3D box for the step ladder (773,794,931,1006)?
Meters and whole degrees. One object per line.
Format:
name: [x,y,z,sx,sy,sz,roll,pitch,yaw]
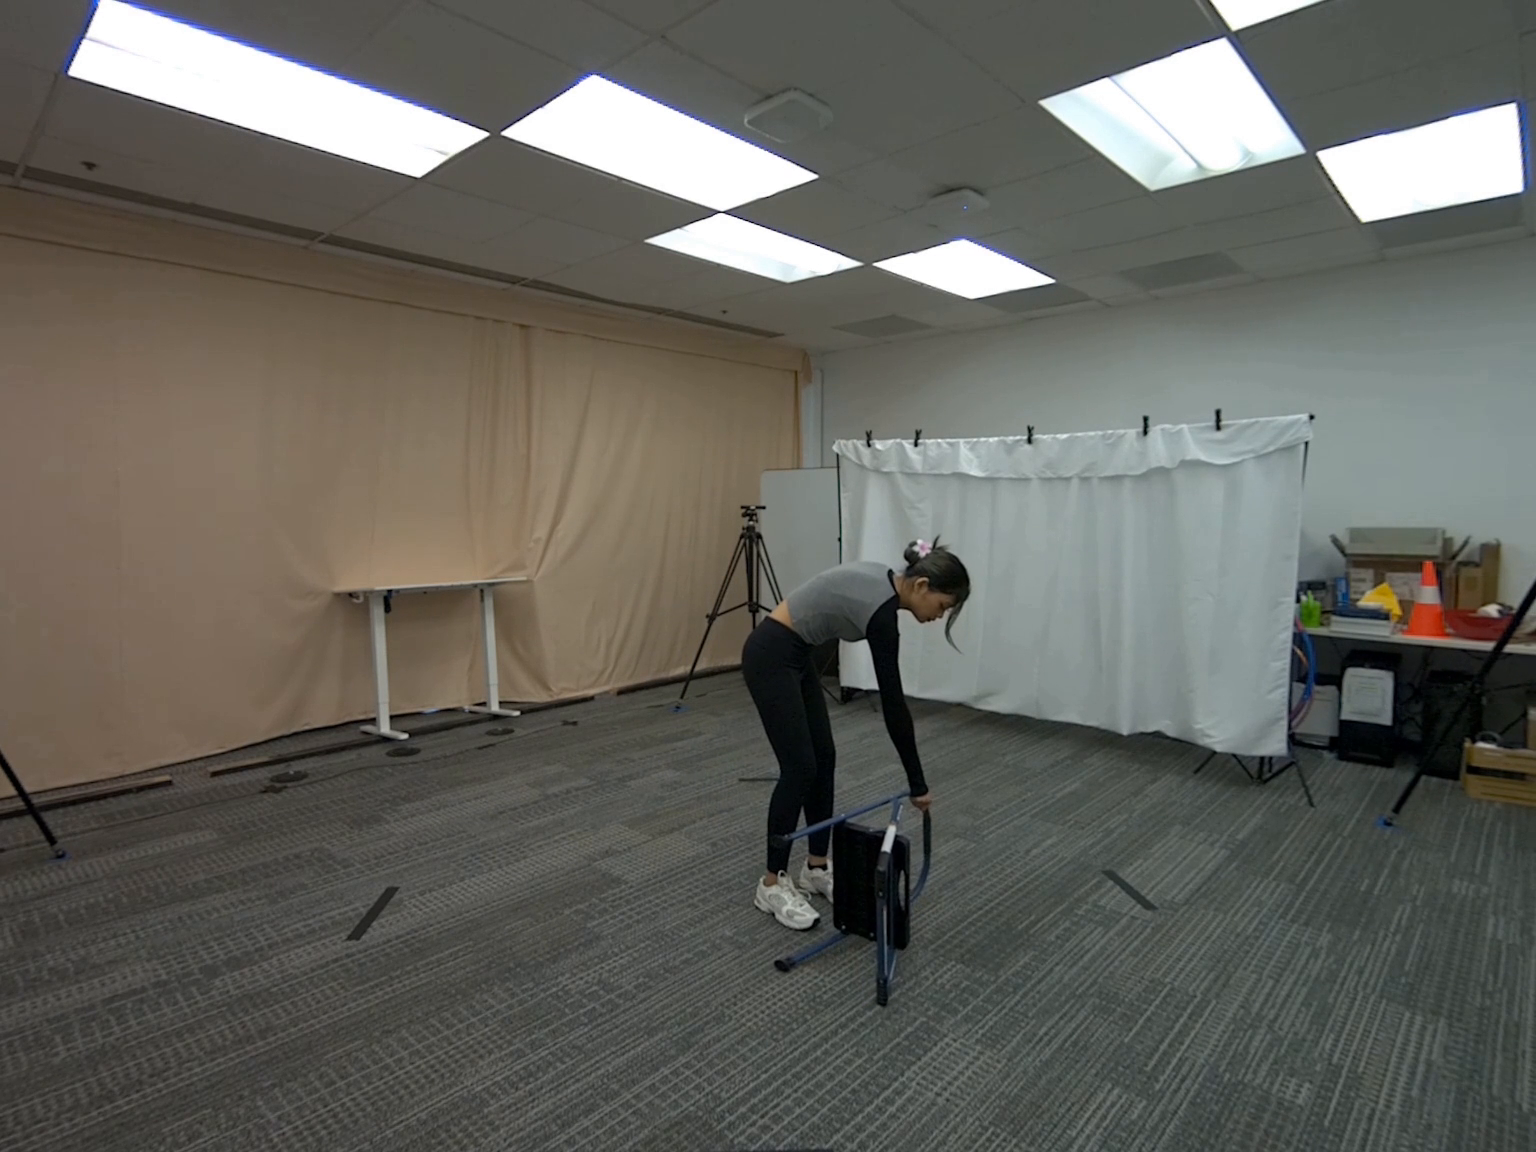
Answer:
step ladder: [0.326,0.933,2.633,0.360,0.428,0.591,5,12,32]
